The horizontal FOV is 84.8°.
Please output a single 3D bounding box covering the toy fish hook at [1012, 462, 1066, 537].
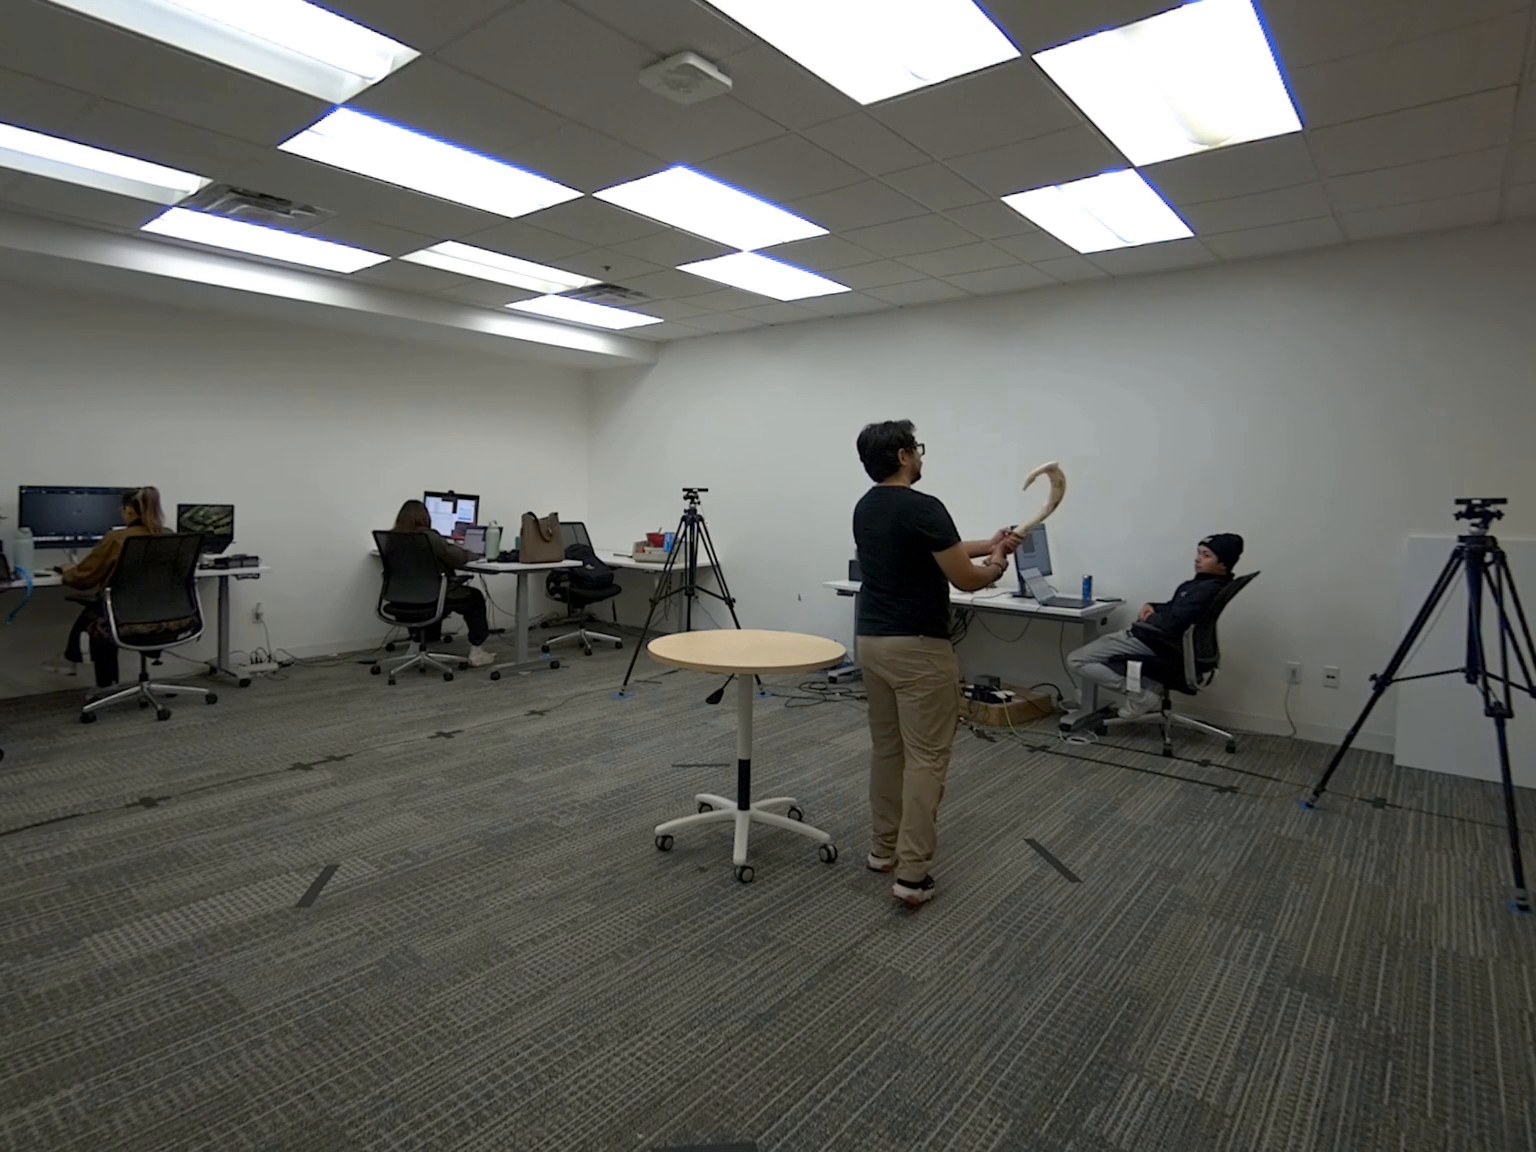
[{"bbox_3d":[0.946,-0.224,3.201,0.217,0.506,0.050,49,-13,-28],"label":"toy fish hook"}]
